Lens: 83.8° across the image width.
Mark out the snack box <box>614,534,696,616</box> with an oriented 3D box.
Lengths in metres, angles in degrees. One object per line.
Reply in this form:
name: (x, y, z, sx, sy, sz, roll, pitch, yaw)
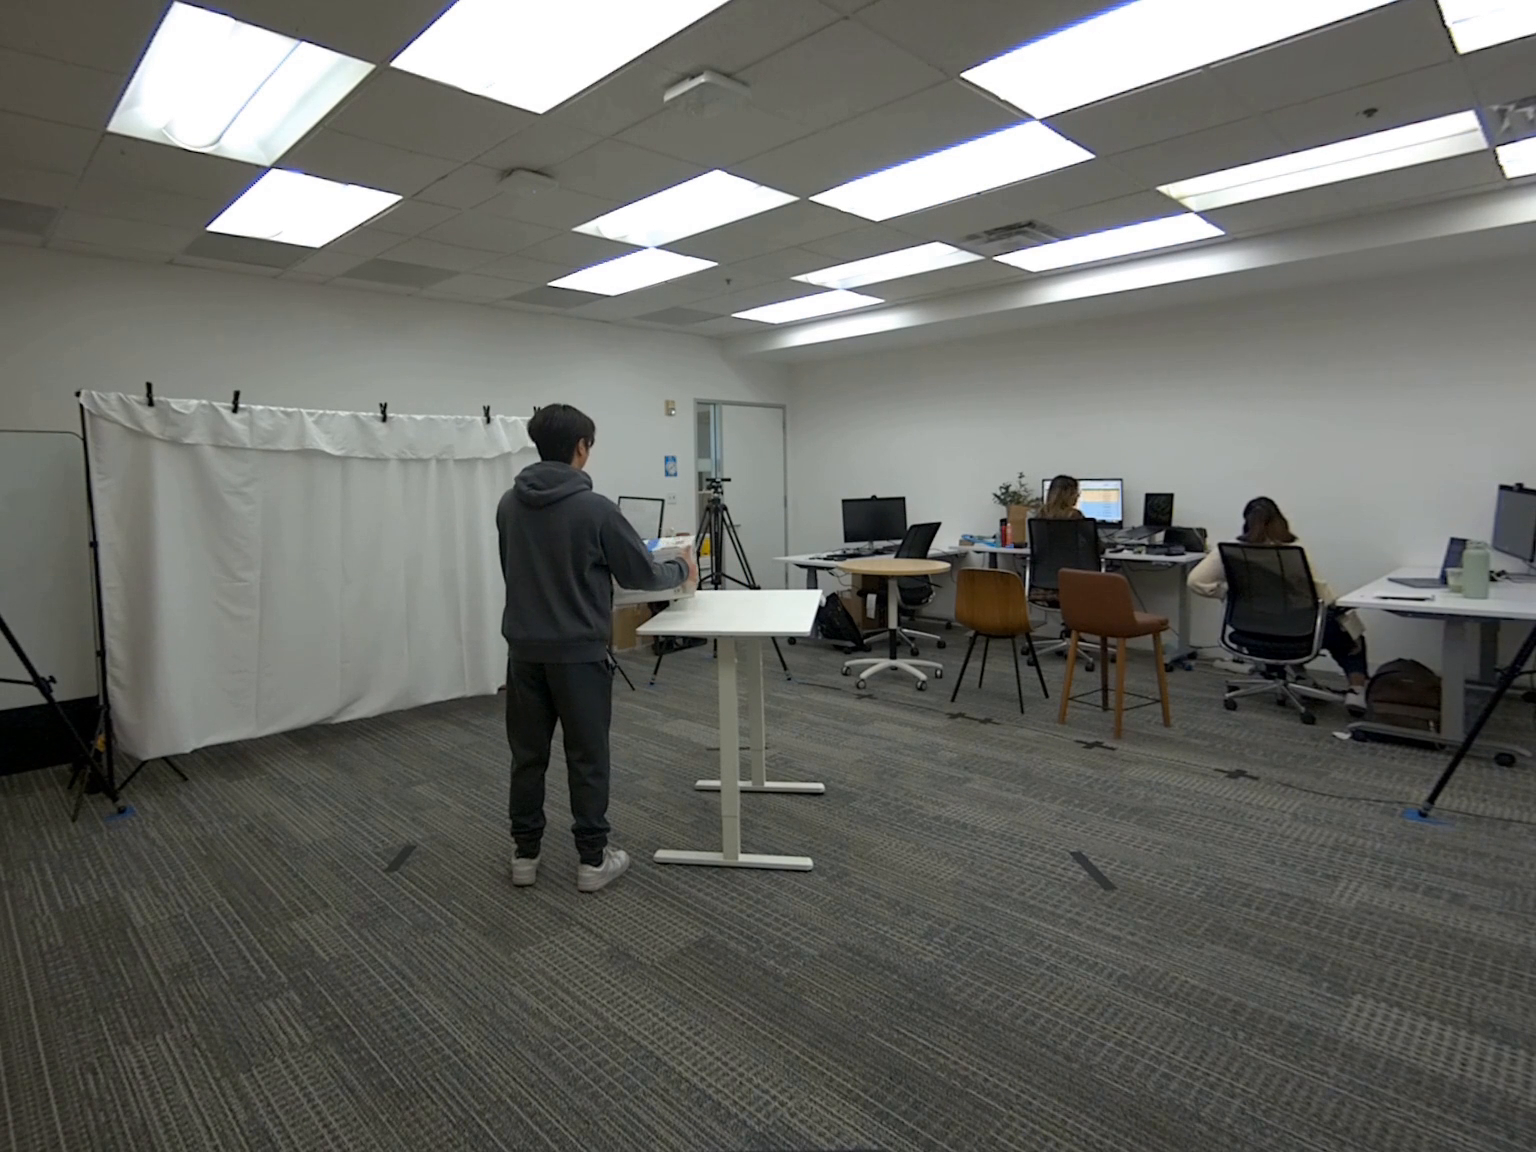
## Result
snack box: (-0.467, -0.028, 3.524, 0.341, 0.204, 0.408, -6, 8, 1)
